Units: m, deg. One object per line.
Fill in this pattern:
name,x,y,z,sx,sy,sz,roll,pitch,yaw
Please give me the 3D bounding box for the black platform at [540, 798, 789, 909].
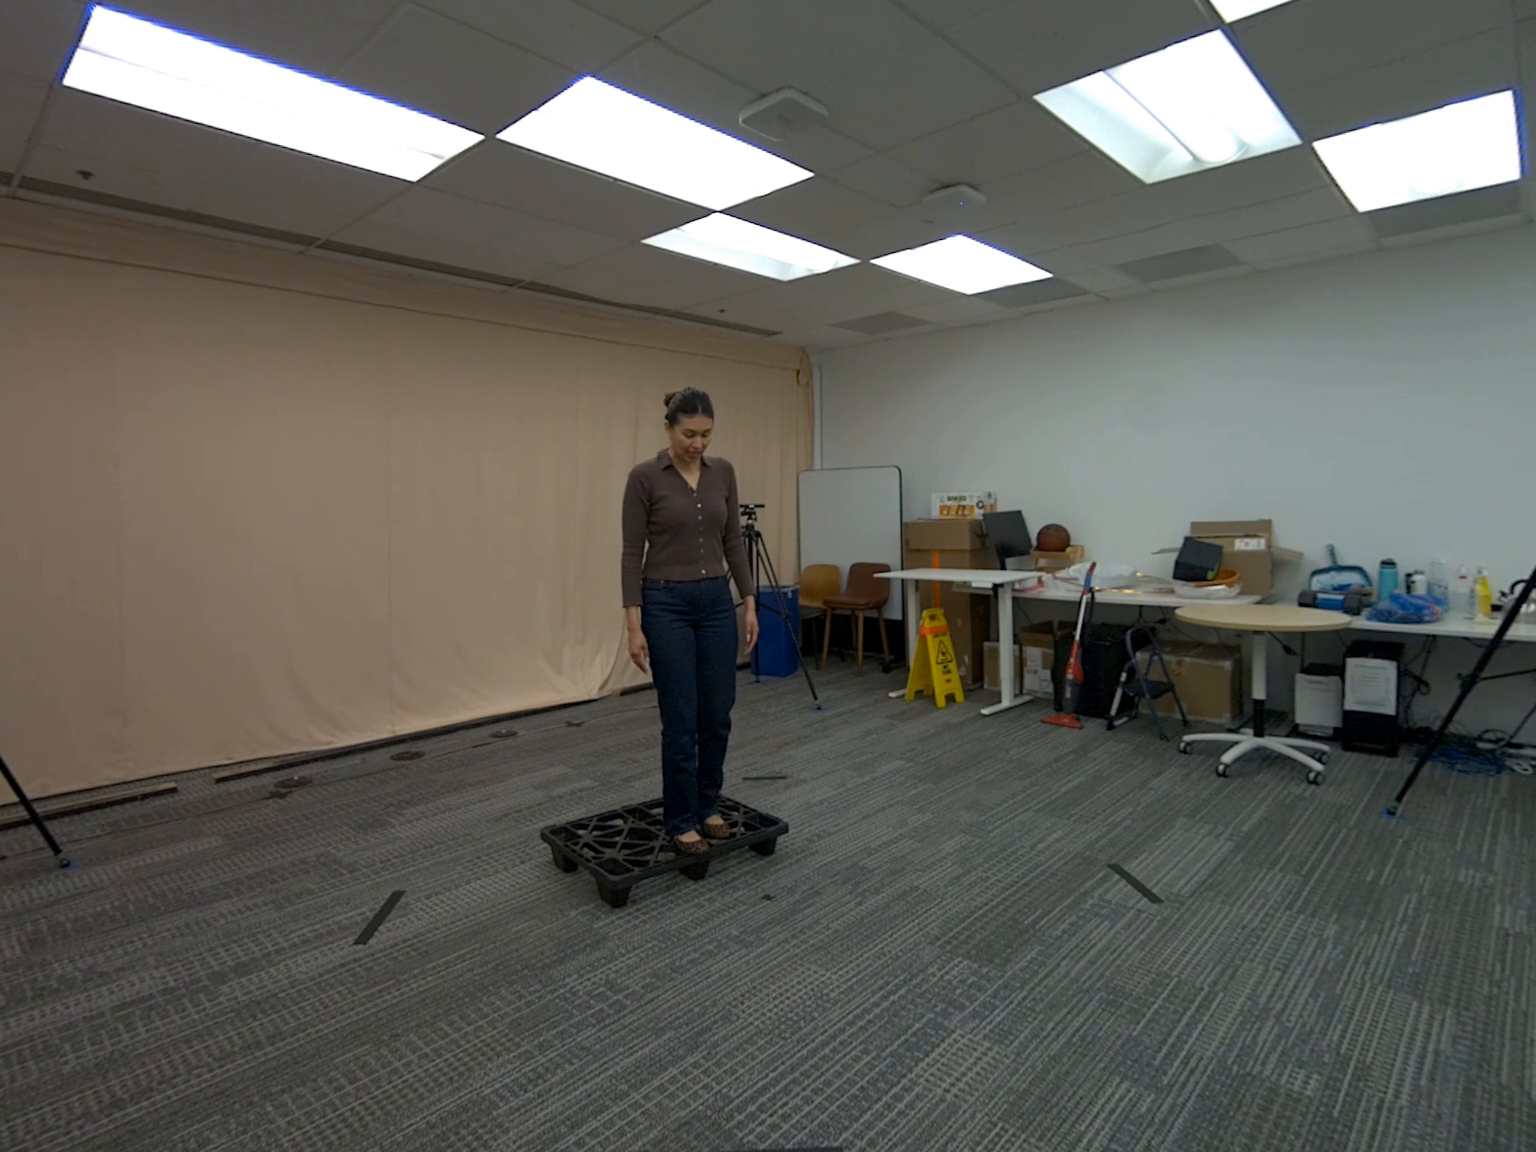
black platform,-0.399,1.053,3.321,0.782,0.143,0.625,-5,7,-38
